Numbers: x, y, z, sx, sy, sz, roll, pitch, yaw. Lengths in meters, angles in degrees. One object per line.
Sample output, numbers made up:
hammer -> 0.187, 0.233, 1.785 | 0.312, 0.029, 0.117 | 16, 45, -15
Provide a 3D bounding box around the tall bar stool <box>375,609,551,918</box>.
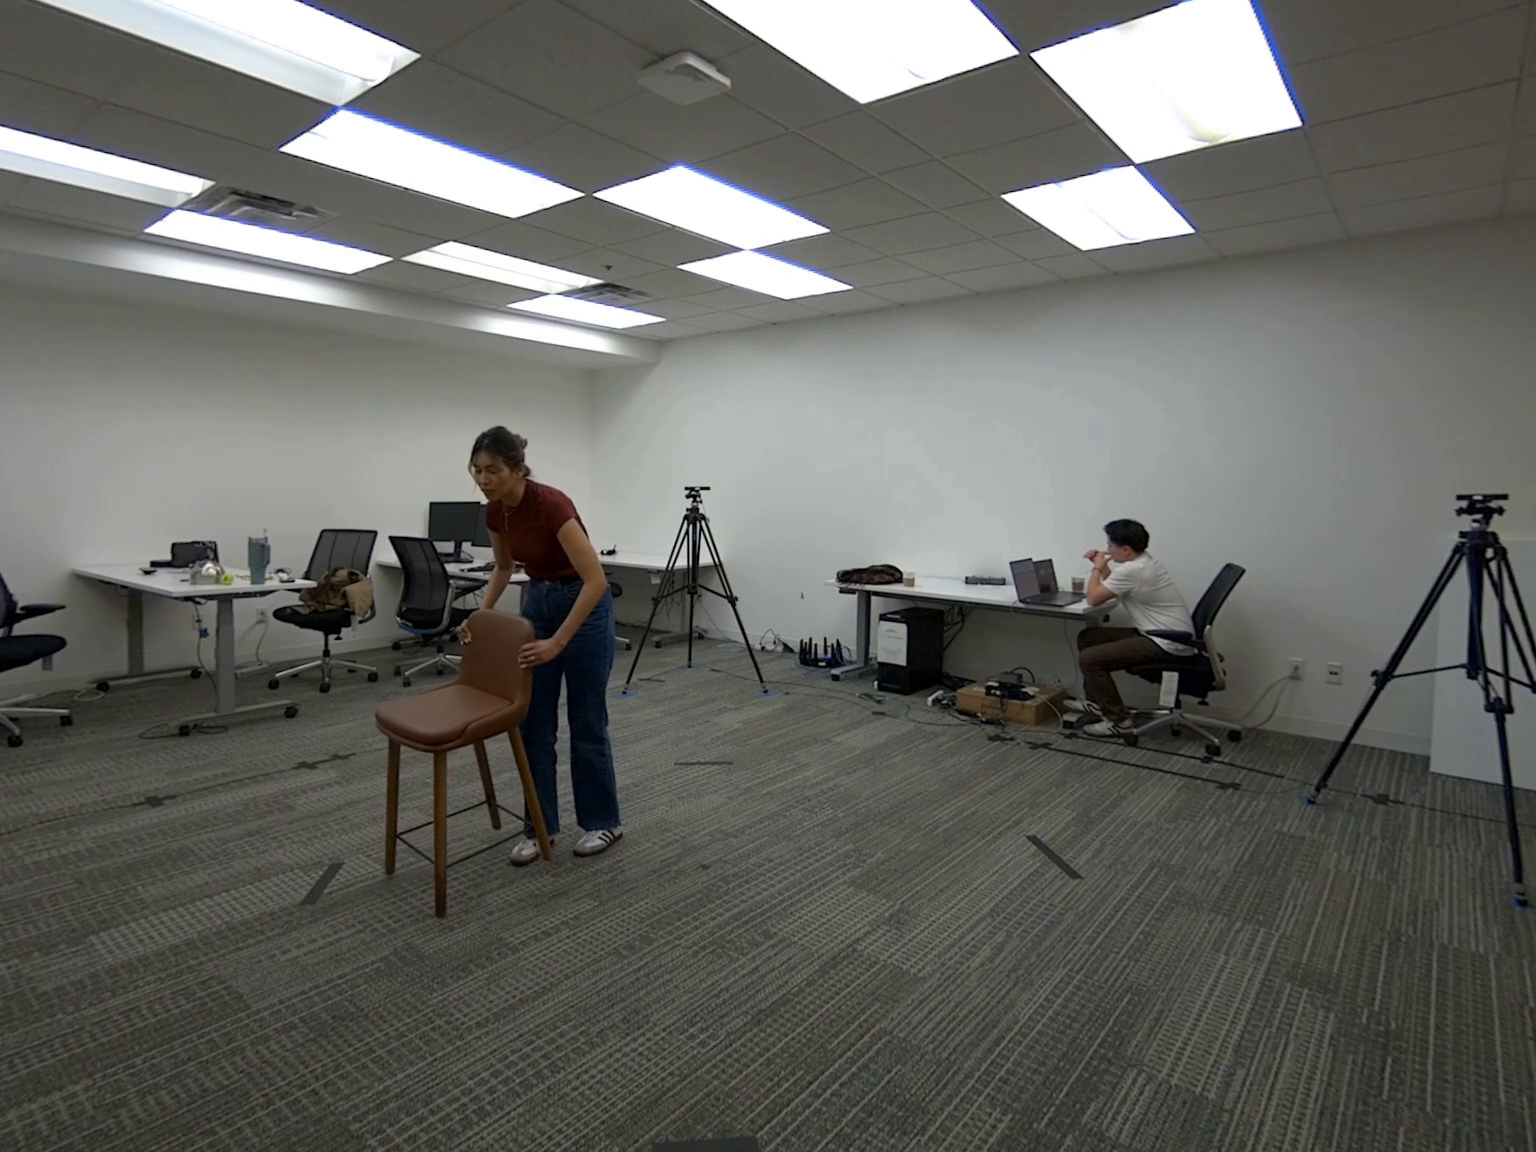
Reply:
tall bar stool -> -1.081, 0.604, 2.952 | 0.472, 0.883, 0.455 | 6, 10, 43
